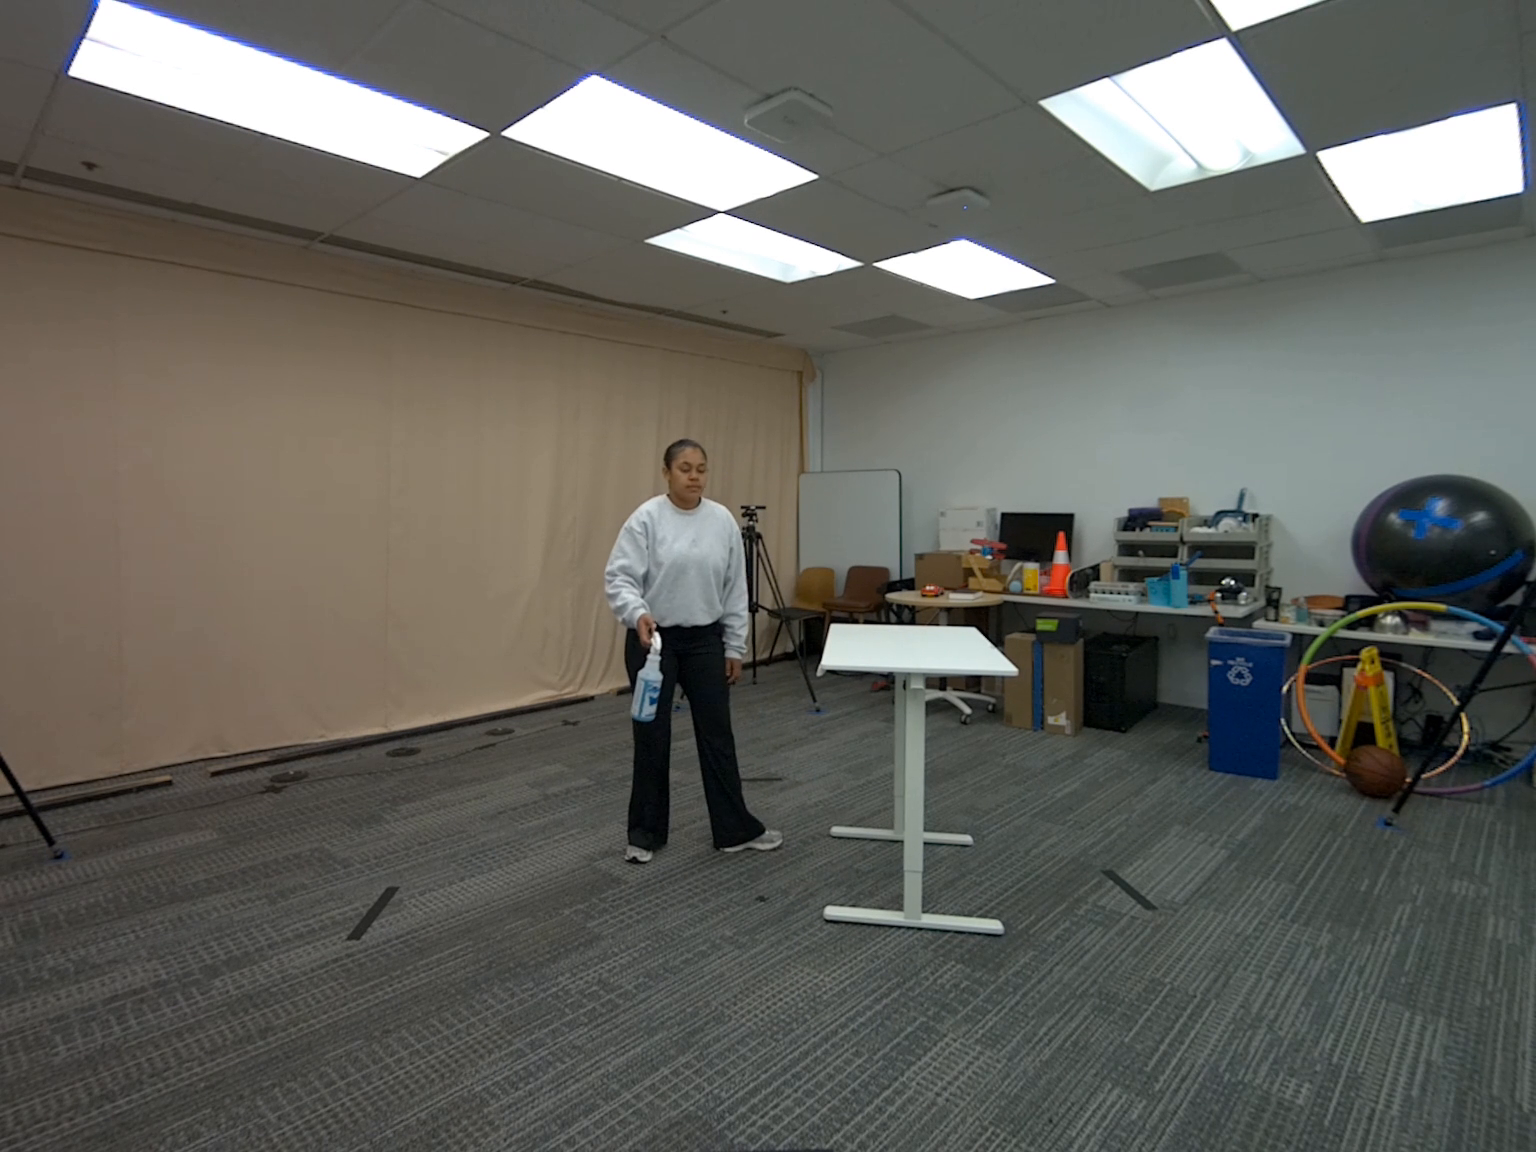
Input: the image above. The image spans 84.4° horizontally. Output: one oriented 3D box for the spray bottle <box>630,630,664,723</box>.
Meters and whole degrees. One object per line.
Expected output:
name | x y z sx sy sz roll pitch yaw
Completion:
spray bottle | -0.405 0.348 2.912 0.088 0.296 0.089 16 10 6
